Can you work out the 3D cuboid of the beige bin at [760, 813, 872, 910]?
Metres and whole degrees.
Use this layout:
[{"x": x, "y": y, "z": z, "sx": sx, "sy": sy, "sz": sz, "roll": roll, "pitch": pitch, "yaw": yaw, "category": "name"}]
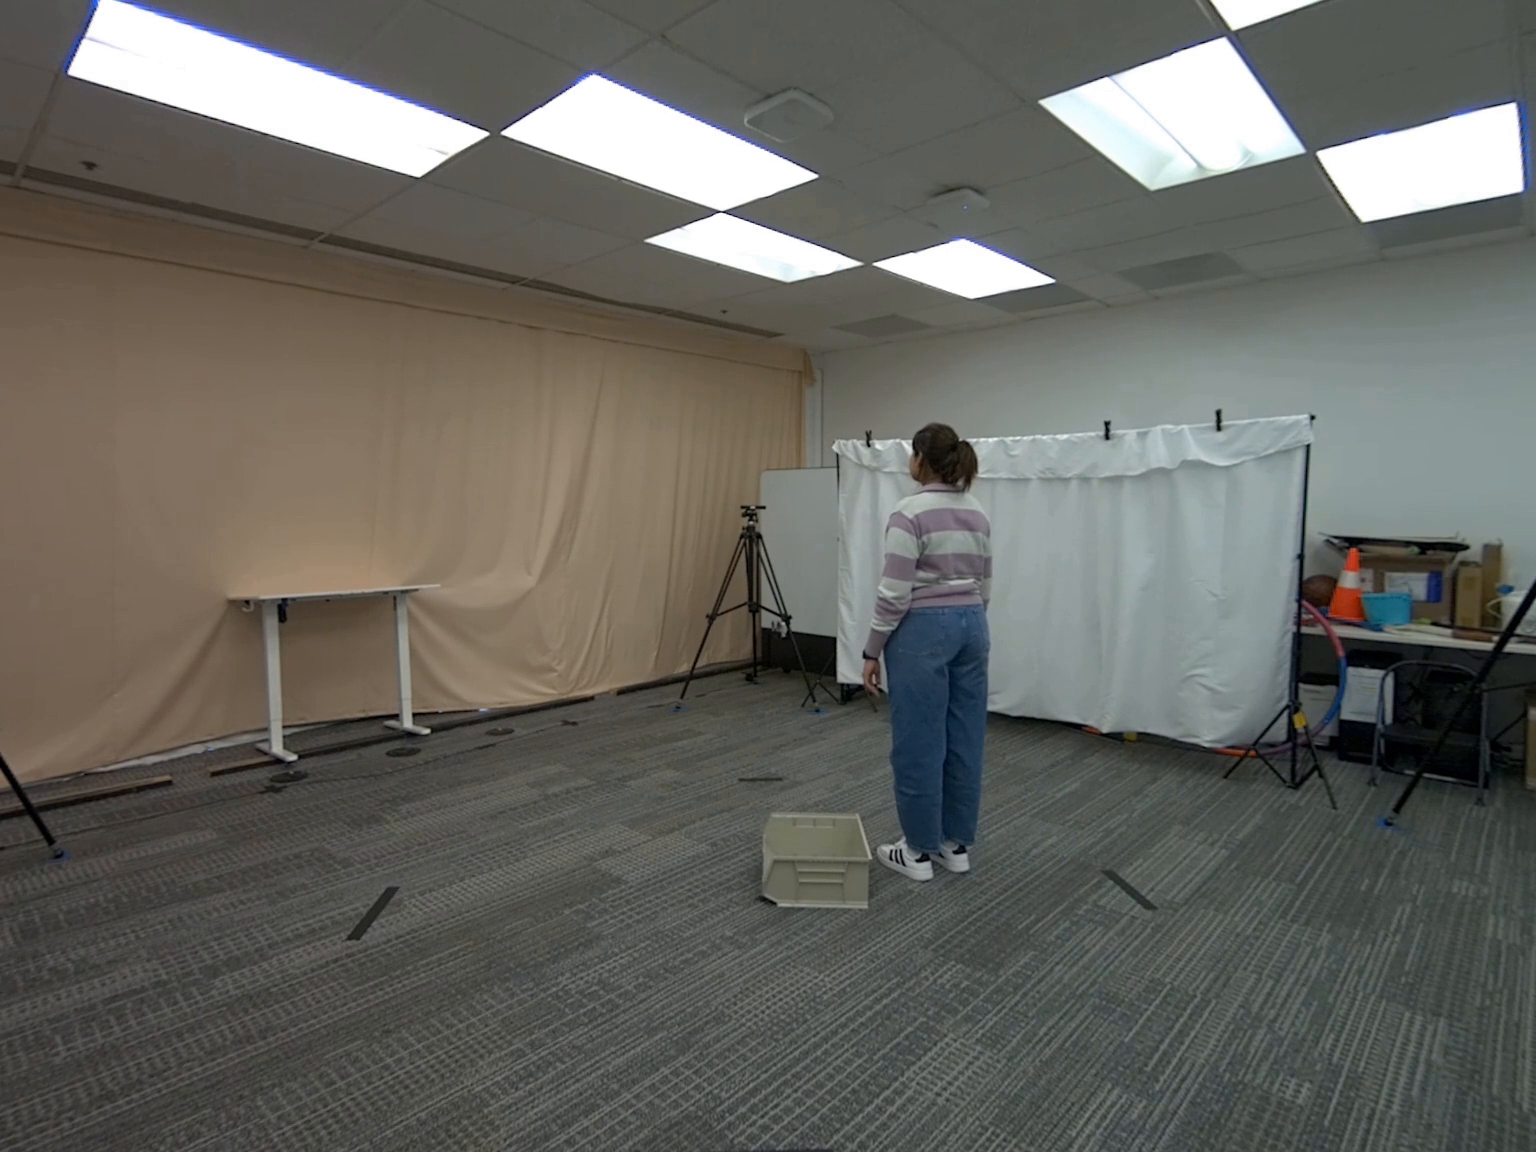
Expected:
[{"x": 0.171, "y": 1.041, "z": 3.114, "sx": 0.378, "sy": 0.188, "sz": 0.422, "roll": 1, "pitch": 4, "yaw": 1, "category": "beige bin"}]
